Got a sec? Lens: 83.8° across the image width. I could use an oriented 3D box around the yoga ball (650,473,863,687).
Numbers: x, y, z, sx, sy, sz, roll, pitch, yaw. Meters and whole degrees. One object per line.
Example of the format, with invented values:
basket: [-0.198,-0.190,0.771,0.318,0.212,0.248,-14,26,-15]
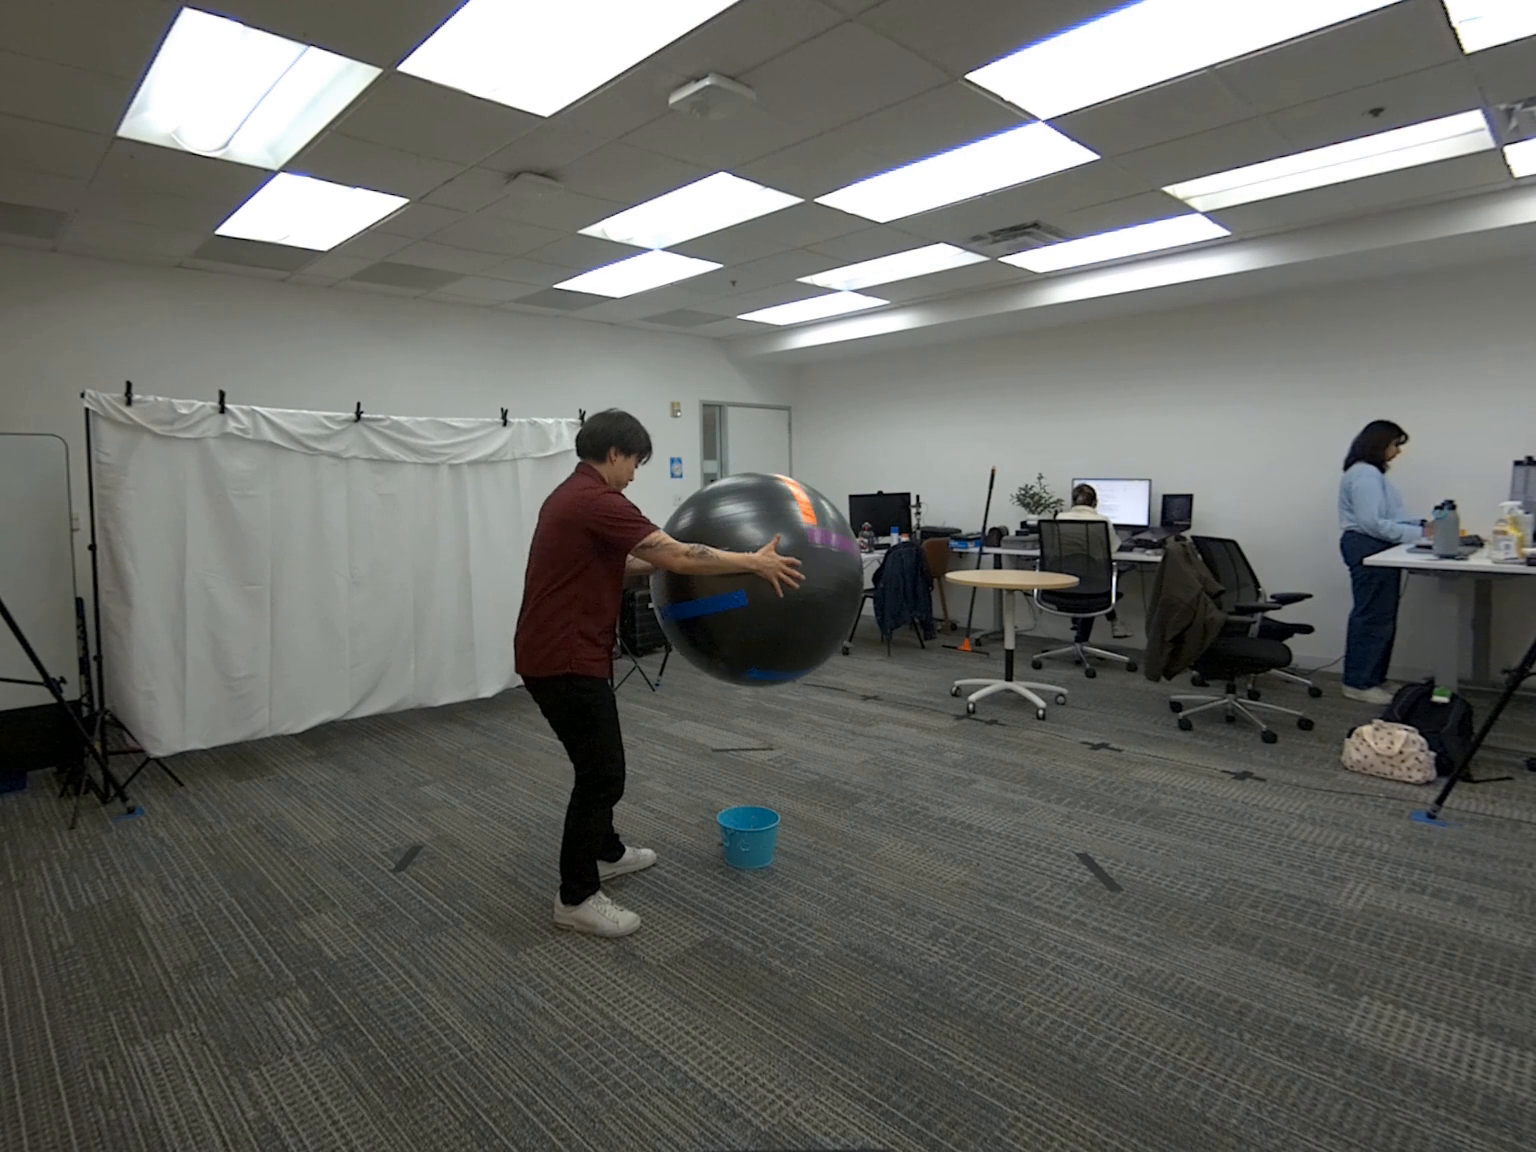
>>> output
yoga ball: [-0.042,0.015,3.047,0.757,0.755,0.762,-1,5,-2]
